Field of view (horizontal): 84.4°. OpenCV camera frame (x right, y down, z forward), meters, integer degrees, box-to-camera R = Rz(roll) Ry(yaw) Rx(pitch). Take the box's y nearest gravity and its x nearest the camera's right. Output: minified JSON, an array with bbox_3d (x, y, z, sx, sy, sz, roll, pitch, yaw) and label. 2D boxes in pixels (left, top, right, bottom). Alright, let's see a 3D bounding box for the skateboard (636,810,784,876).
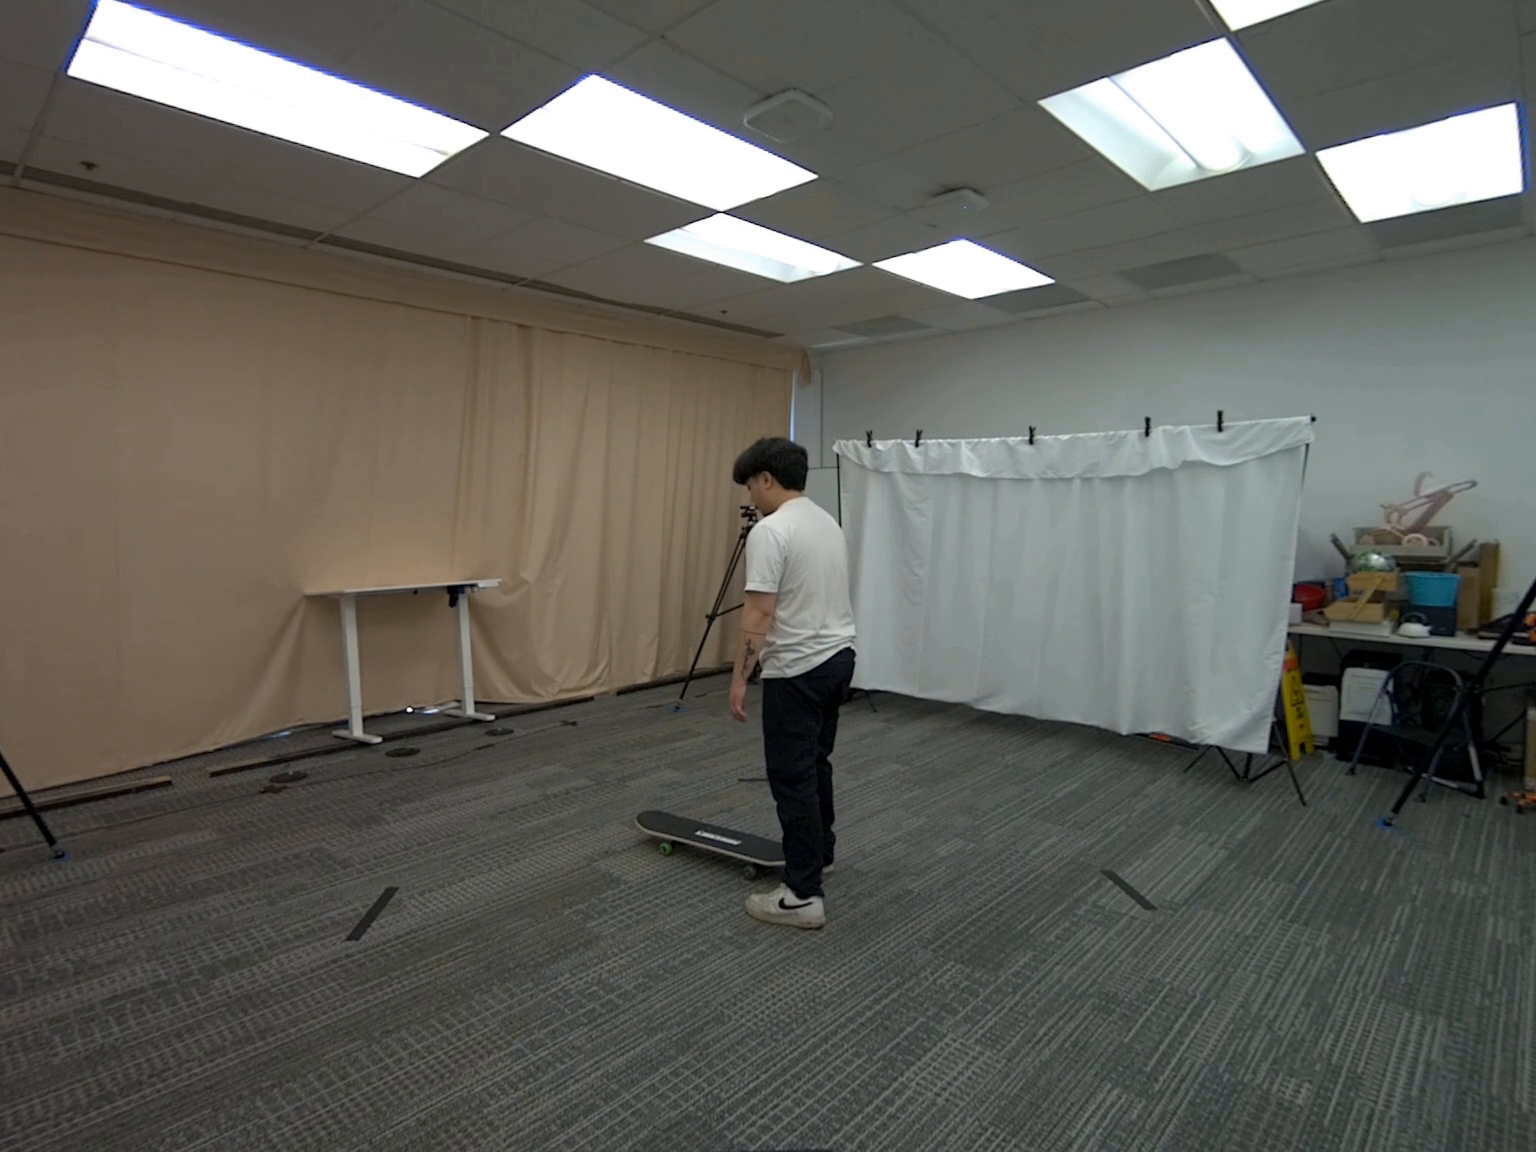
[{"bbox_3d":[-0.197,1.062,3.319,0.809,0.110,0.188,3,6,33],"label":"skateboard"}]
